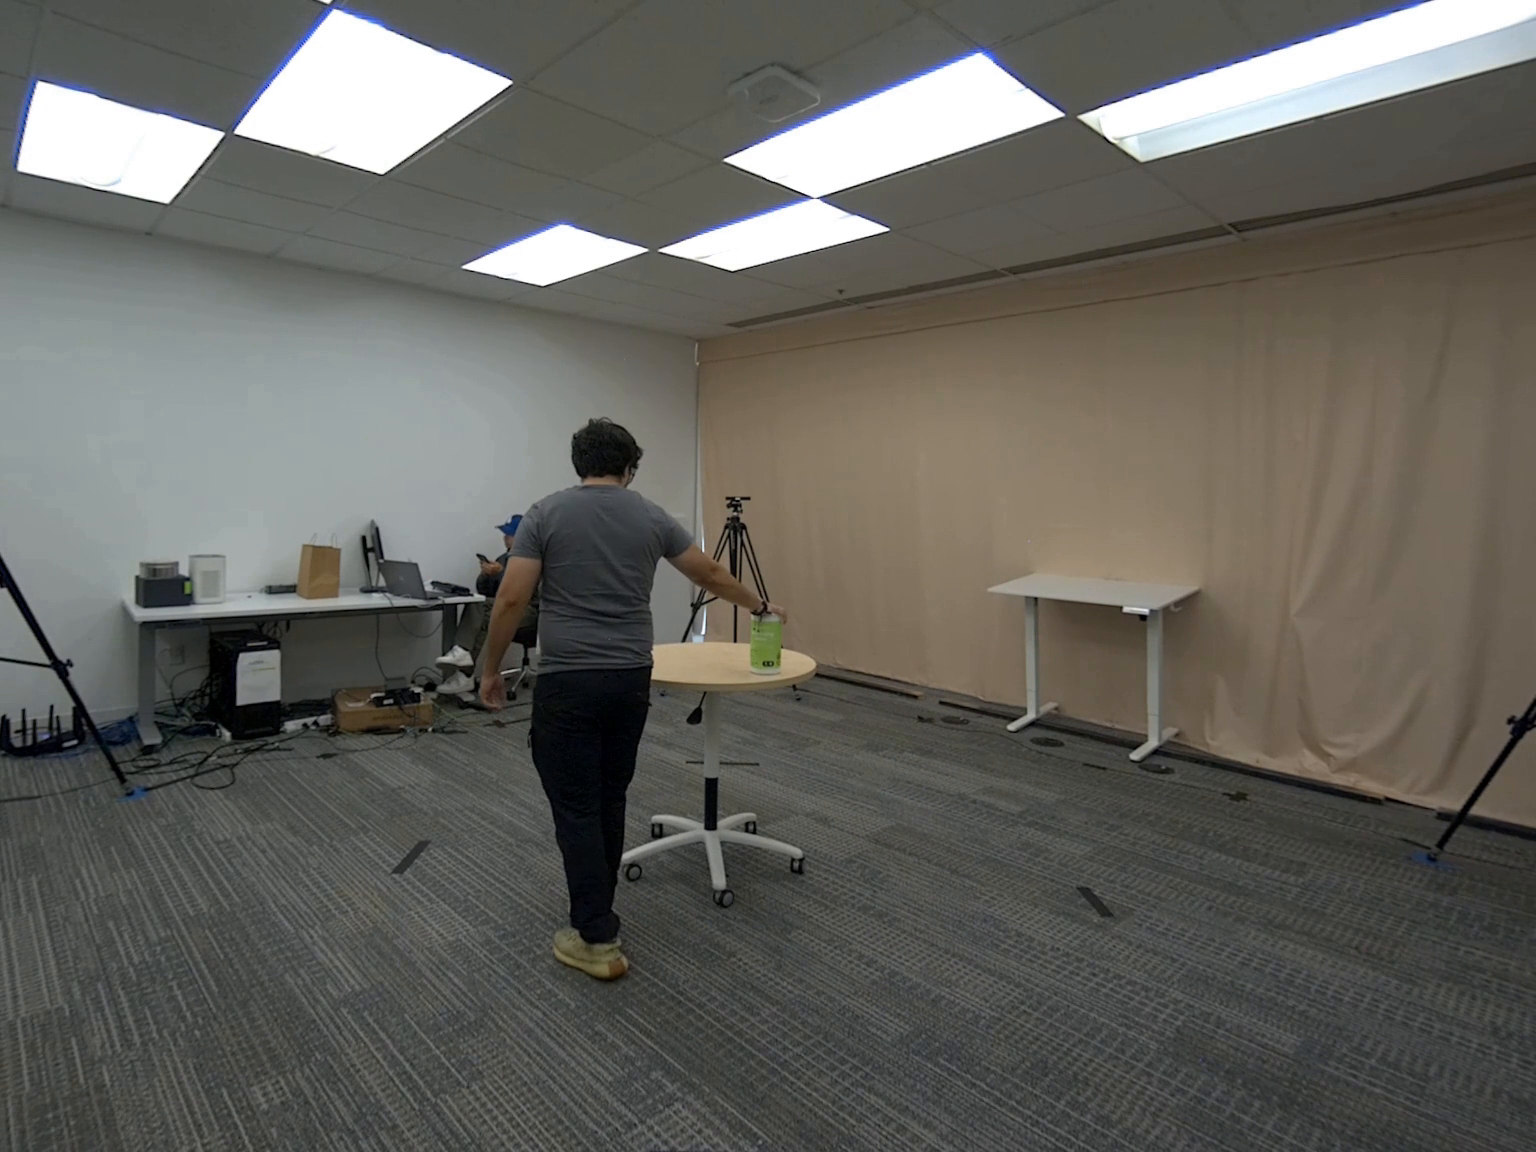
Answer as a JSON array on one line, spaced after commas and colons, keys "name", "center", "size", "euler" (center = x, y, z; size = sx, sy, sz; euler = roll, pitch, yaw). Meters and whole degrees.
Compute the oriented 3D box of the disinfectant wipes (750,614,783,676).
[{"name": "disinfectant wipes", "center": [-0.018, 0.234, 2.961], "size": [0.118, 0.216, 0.118], "euler": [0, 8, -1]}]
